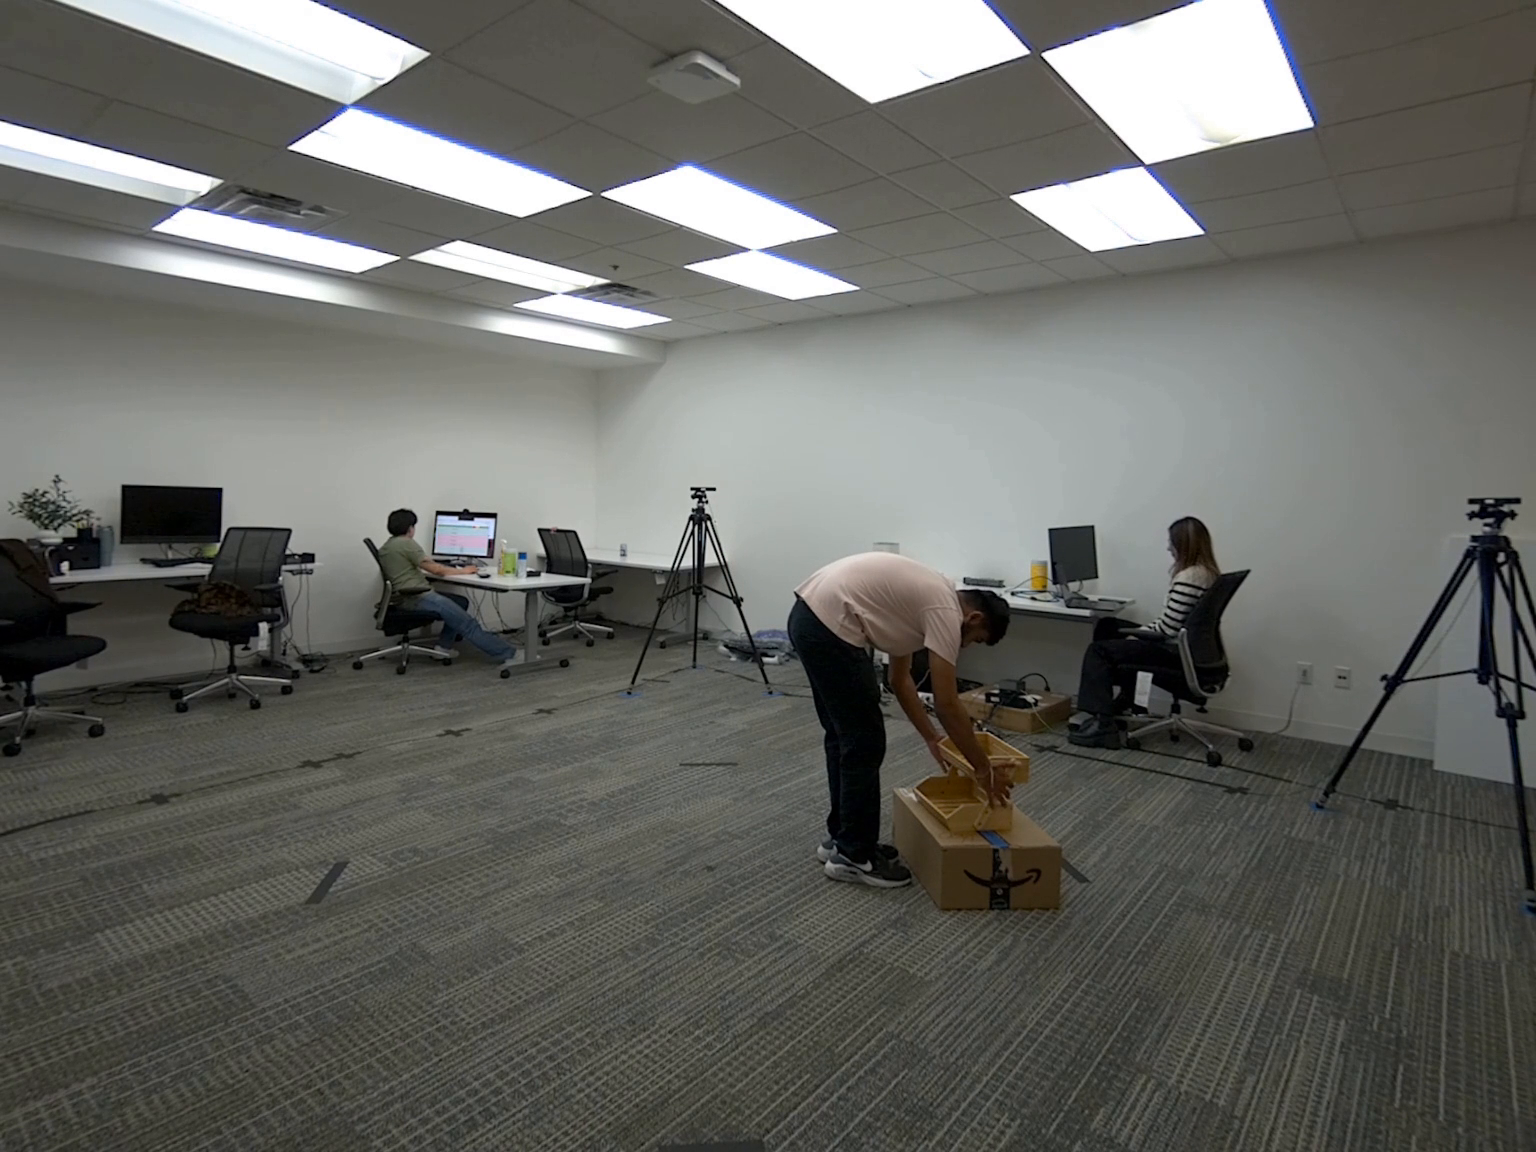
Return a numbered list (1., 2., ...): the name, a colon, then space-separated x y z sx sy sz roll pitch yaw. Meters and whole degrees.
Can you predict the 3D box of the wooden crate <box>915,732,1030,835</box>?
1. wooden crate: 0.731 0.748 3.123 0.298 0.272 0.330 2 5 -12
